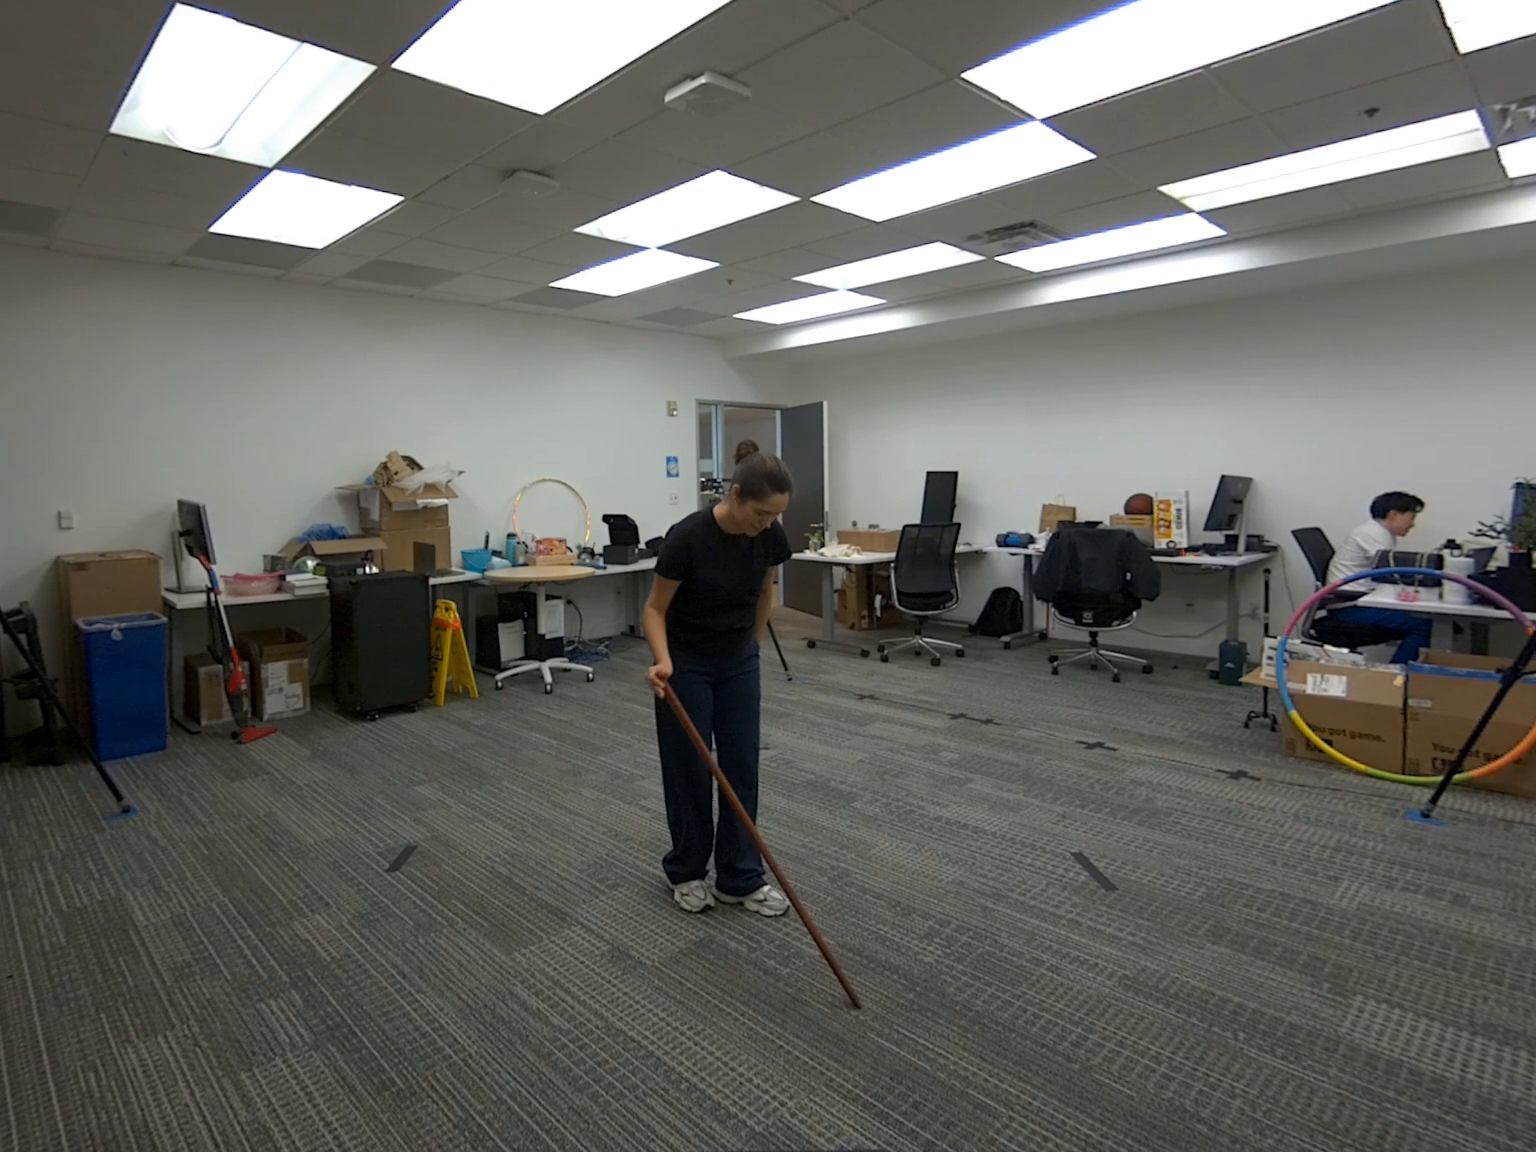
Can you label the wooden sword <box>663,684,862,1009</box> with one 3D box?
[{"bbox_3d":[-0.025,0.720,2.379,0.051,1.038,0.023,-40,-12,36],"label":"wooden sword"}]
